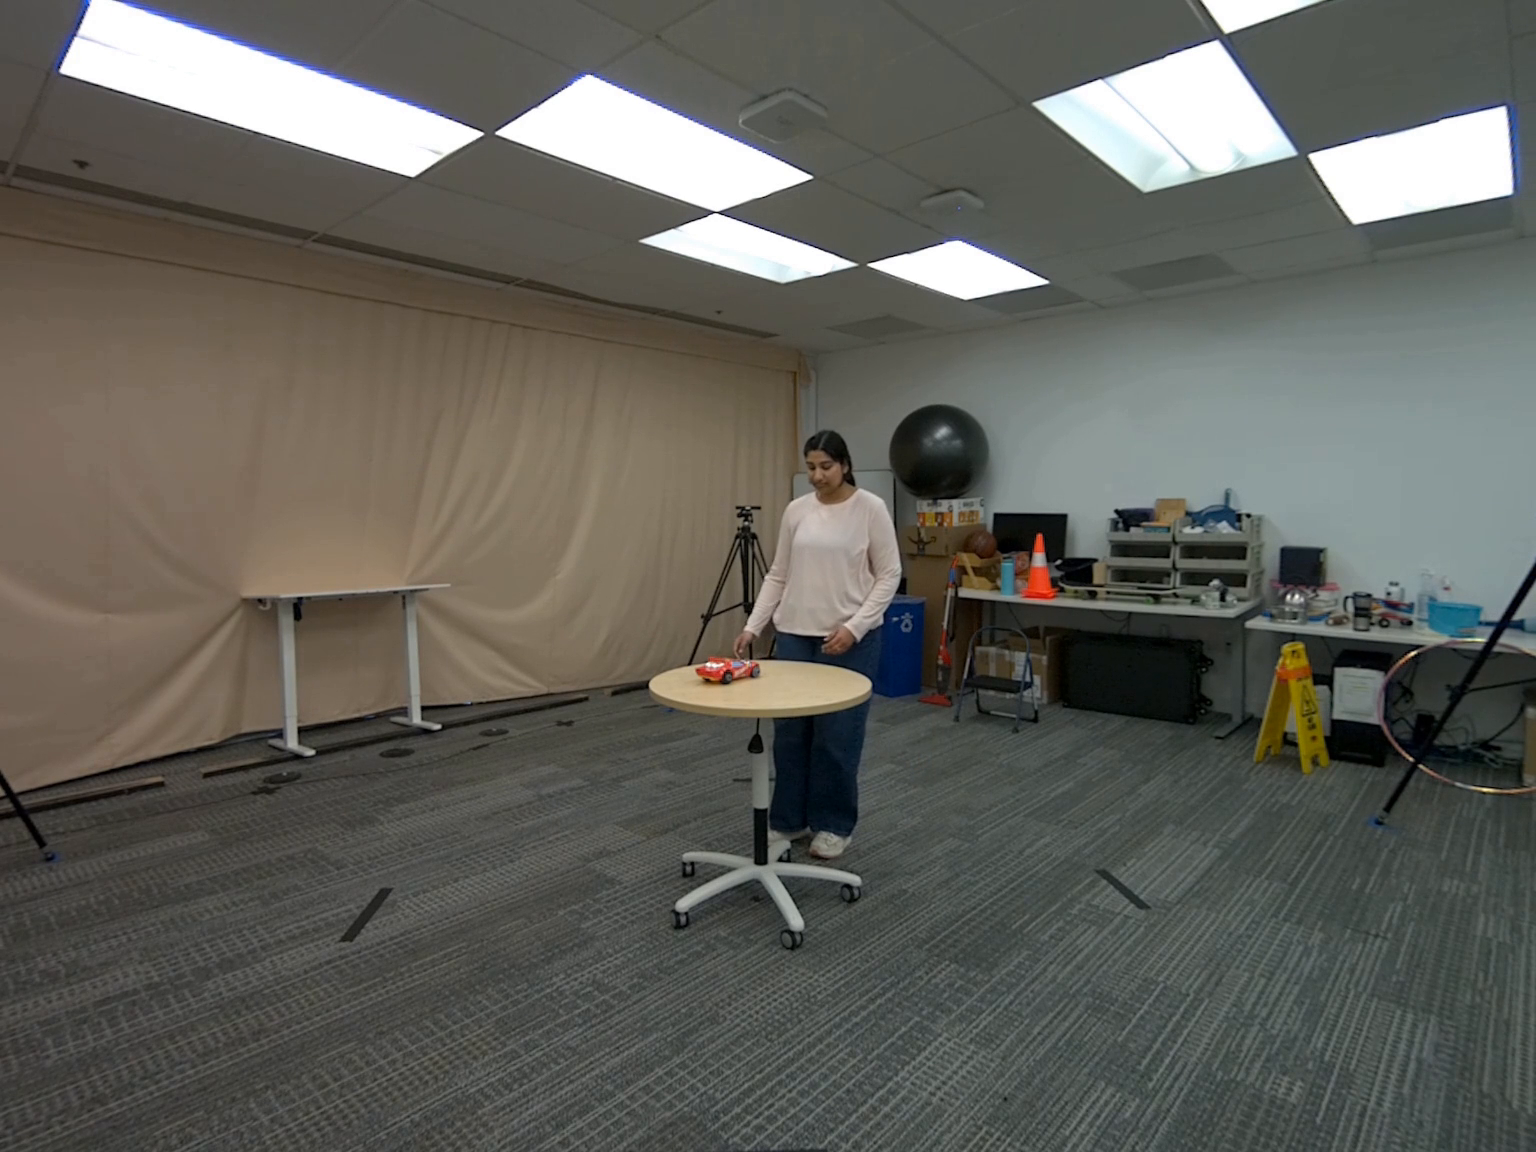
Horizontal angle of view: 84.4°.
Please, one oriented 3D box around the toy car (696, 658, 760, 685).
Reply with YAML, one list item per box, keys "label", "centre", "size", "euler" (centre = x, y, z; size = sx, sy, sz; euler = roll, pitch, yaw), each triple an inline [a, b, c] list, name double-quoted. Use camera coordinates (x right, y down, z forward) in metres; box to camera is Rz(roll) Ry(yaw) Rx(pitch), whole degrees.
- label: "toy car"
  centre: [-0.141, 0.333, 2.952]
  size: [0.135, 0.083, 0.246]
  euler: [4, -5, 44]
